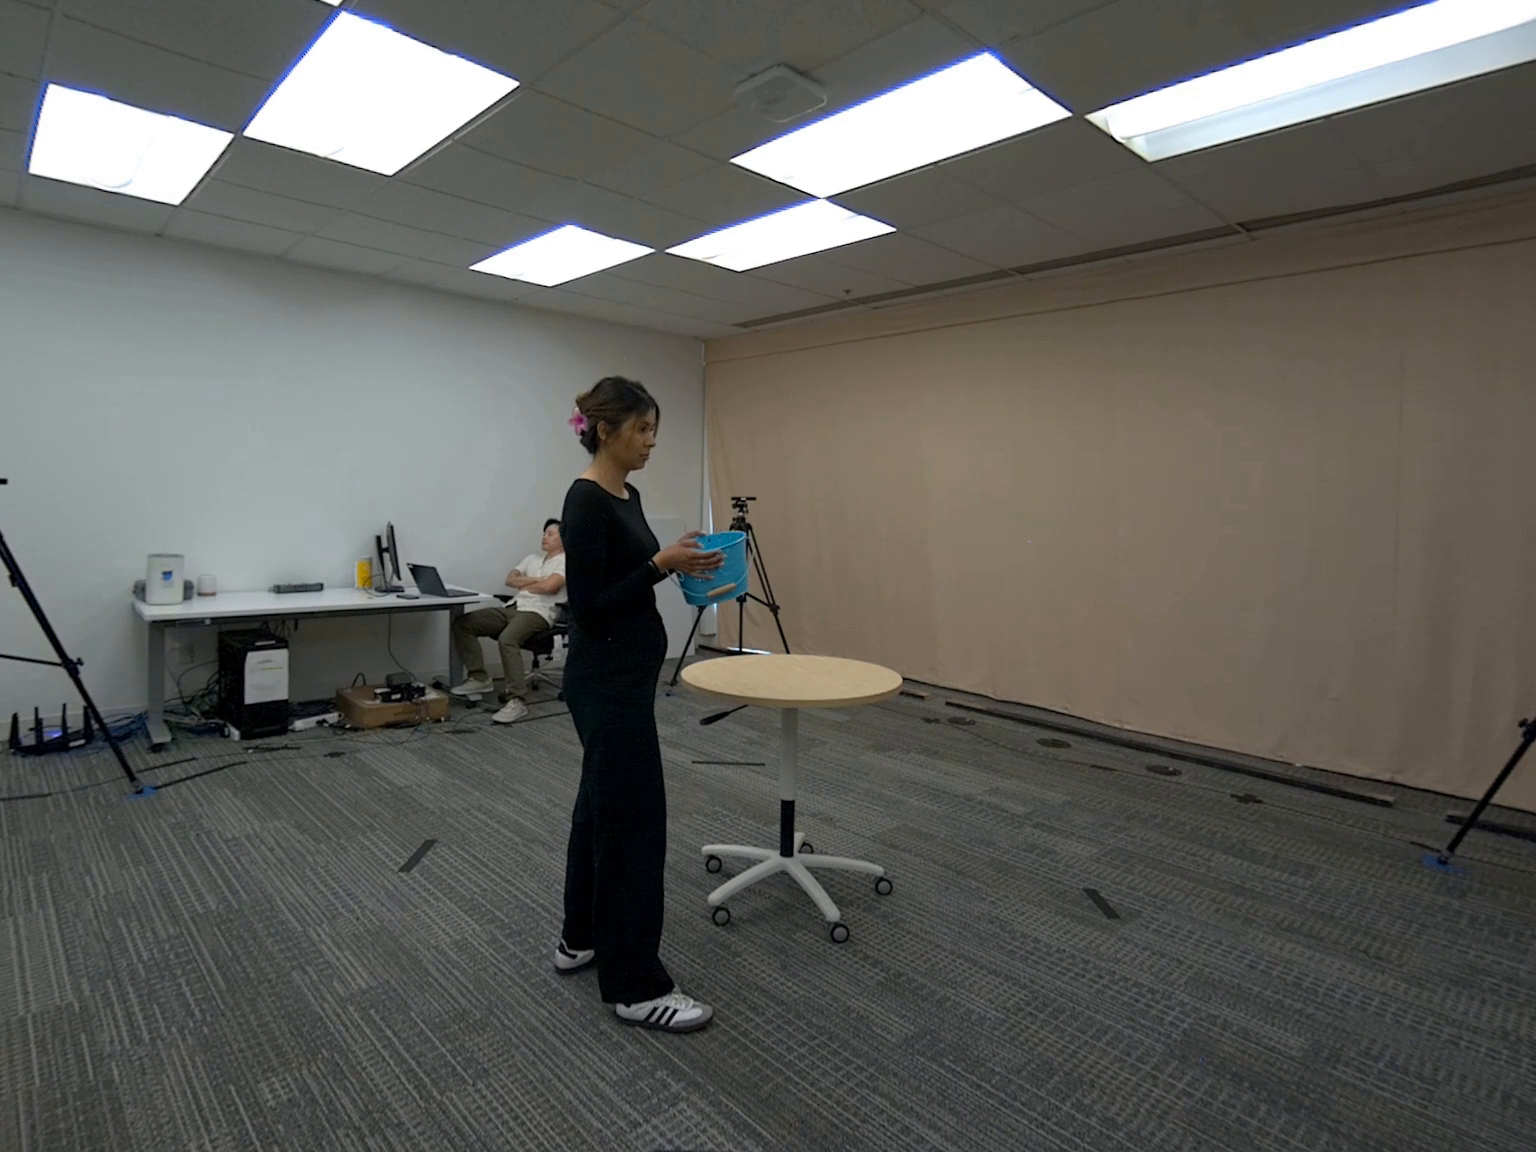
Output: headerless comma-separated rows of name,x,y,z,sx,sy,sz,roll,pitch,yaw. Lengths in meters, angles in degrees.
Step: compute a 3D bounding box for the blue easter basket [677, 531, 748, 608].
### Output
blue easter basket,-0.170,-0.016,2.316,0.244,0.154,0.246,-12,11,1
